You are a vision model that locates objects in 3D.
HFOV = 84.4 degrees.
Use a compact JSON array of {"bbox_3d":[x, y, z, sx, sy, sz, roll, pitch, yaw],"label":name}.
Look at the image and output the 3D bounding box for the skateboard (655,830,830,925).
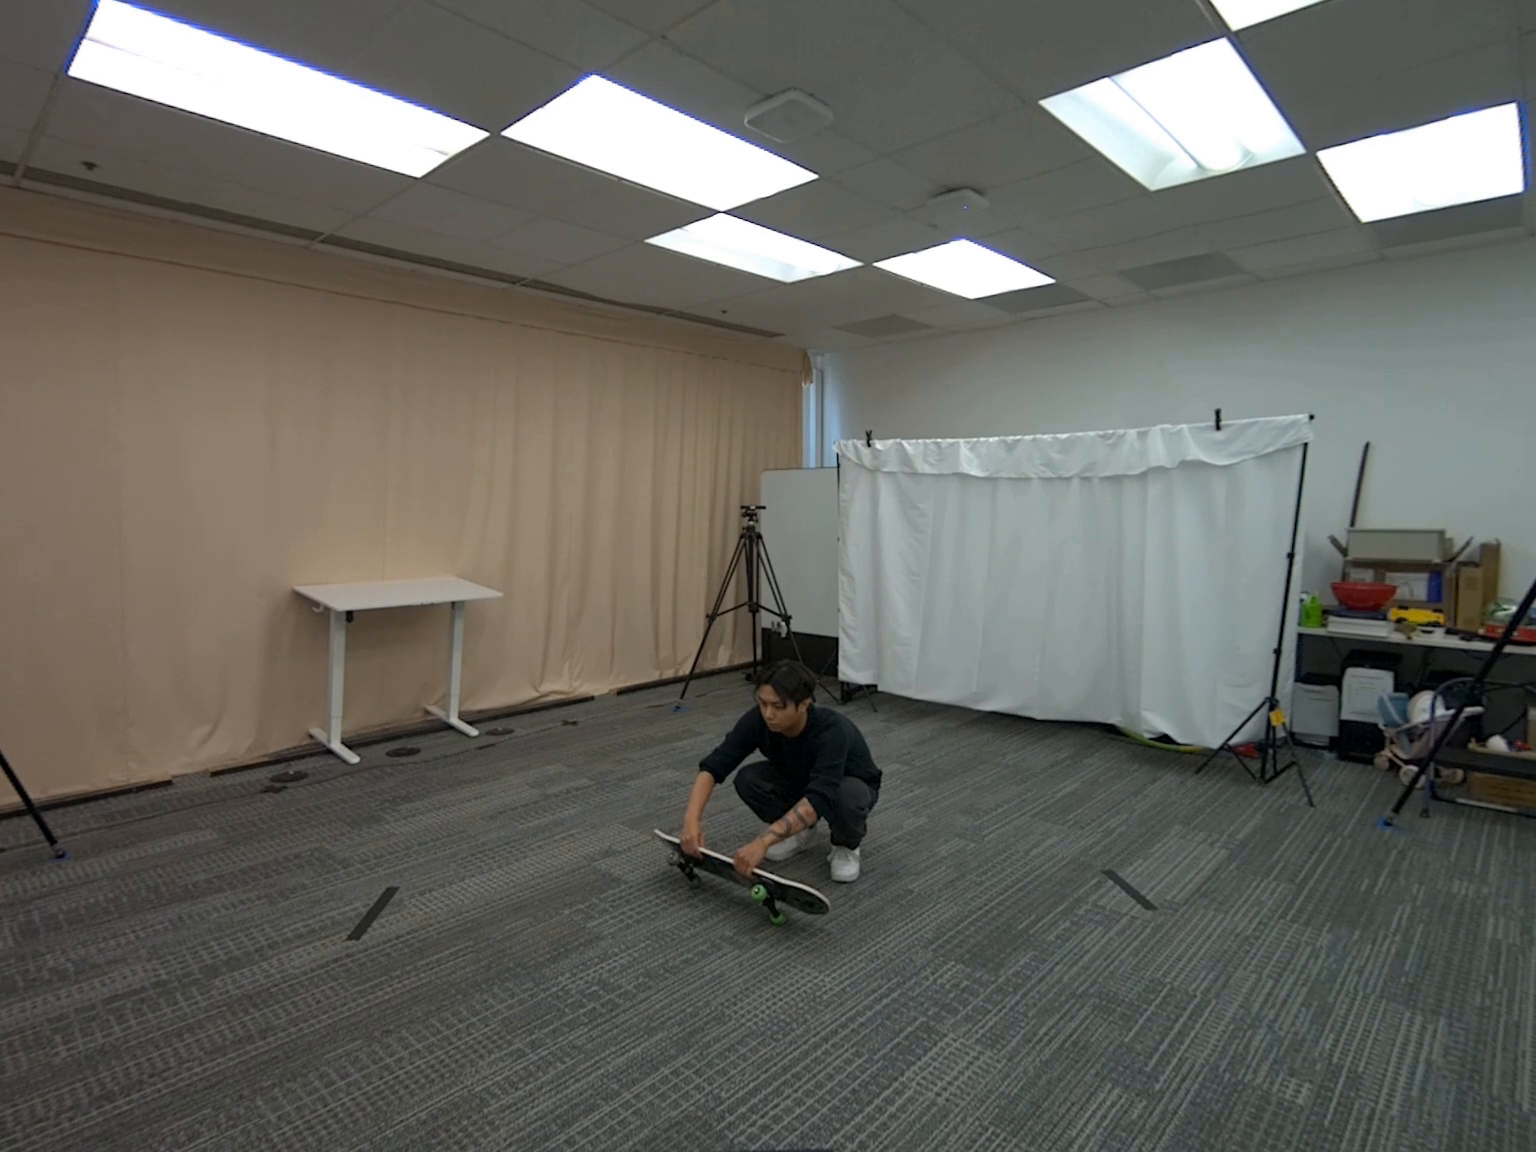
[{"bbox_3d":[-0.138,1.046,2.918,0.812,0.188,0.110,5,46,43],"label":"skateboard"}]
